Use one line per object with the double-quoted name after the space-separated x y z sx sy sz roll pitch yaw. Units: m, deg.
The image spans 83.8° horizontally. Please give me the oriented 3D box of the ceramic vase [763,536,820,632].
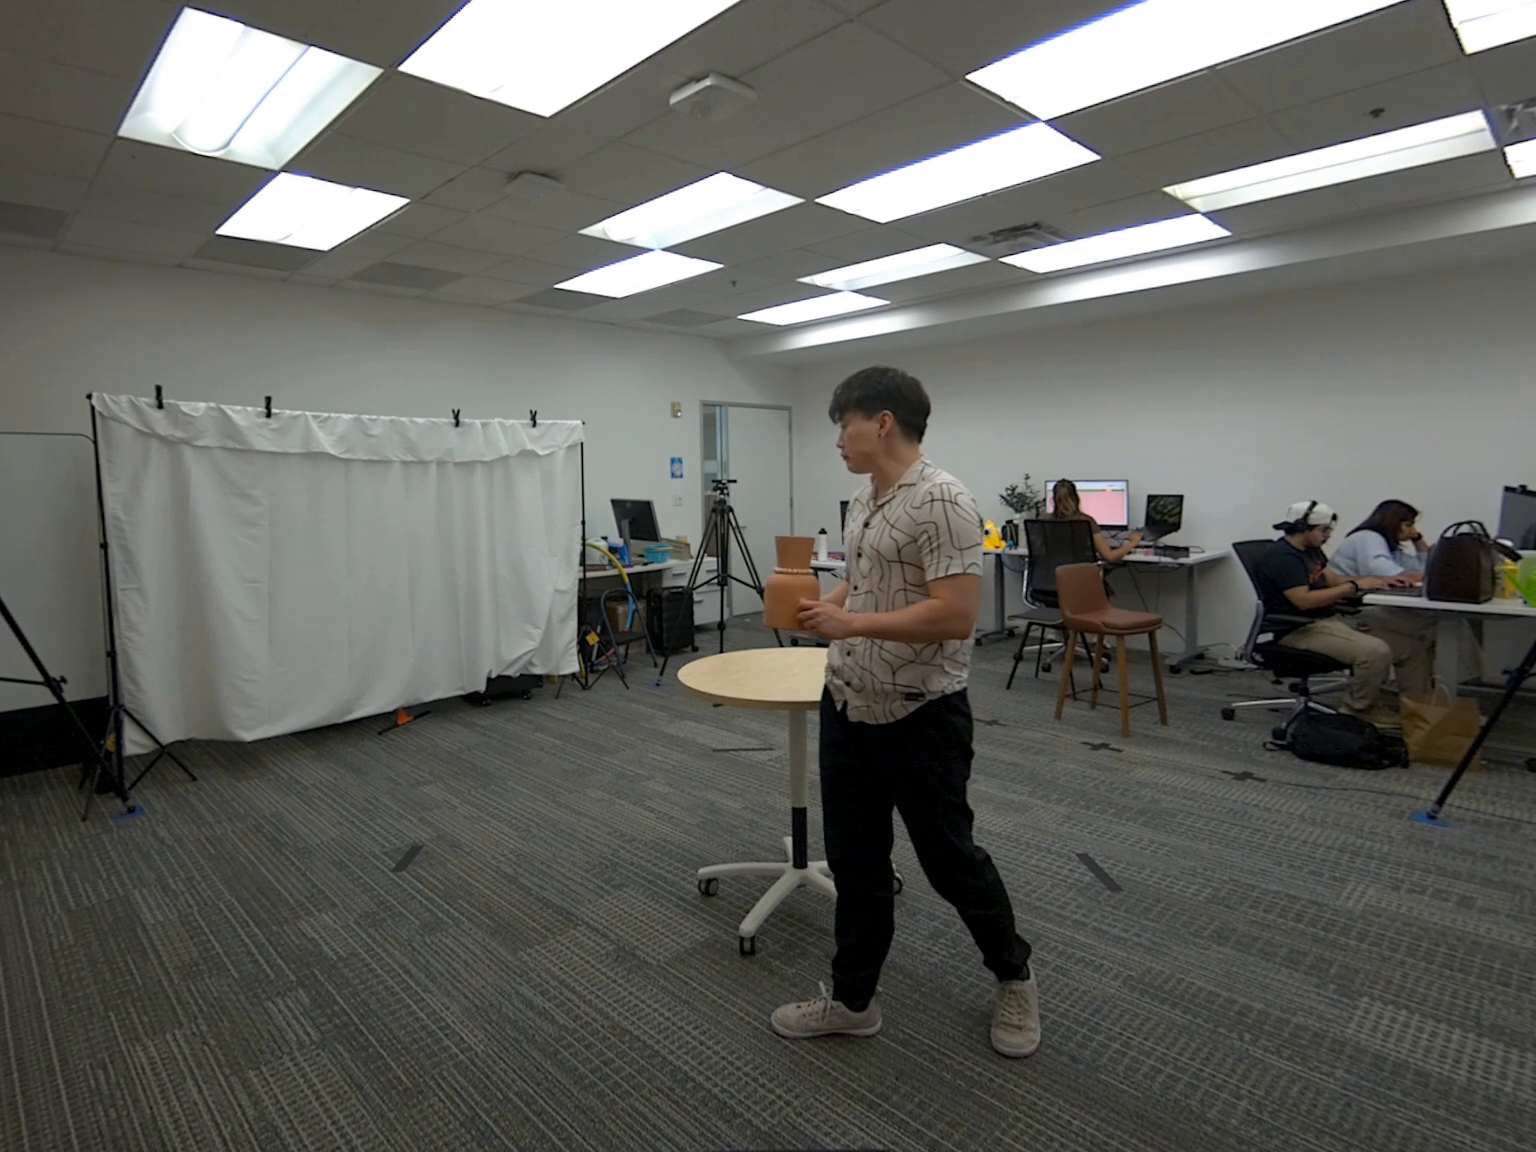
0.066 0.014 2.052 0.163 0.220 0.131 3 -1 31 "ceramic vase"
